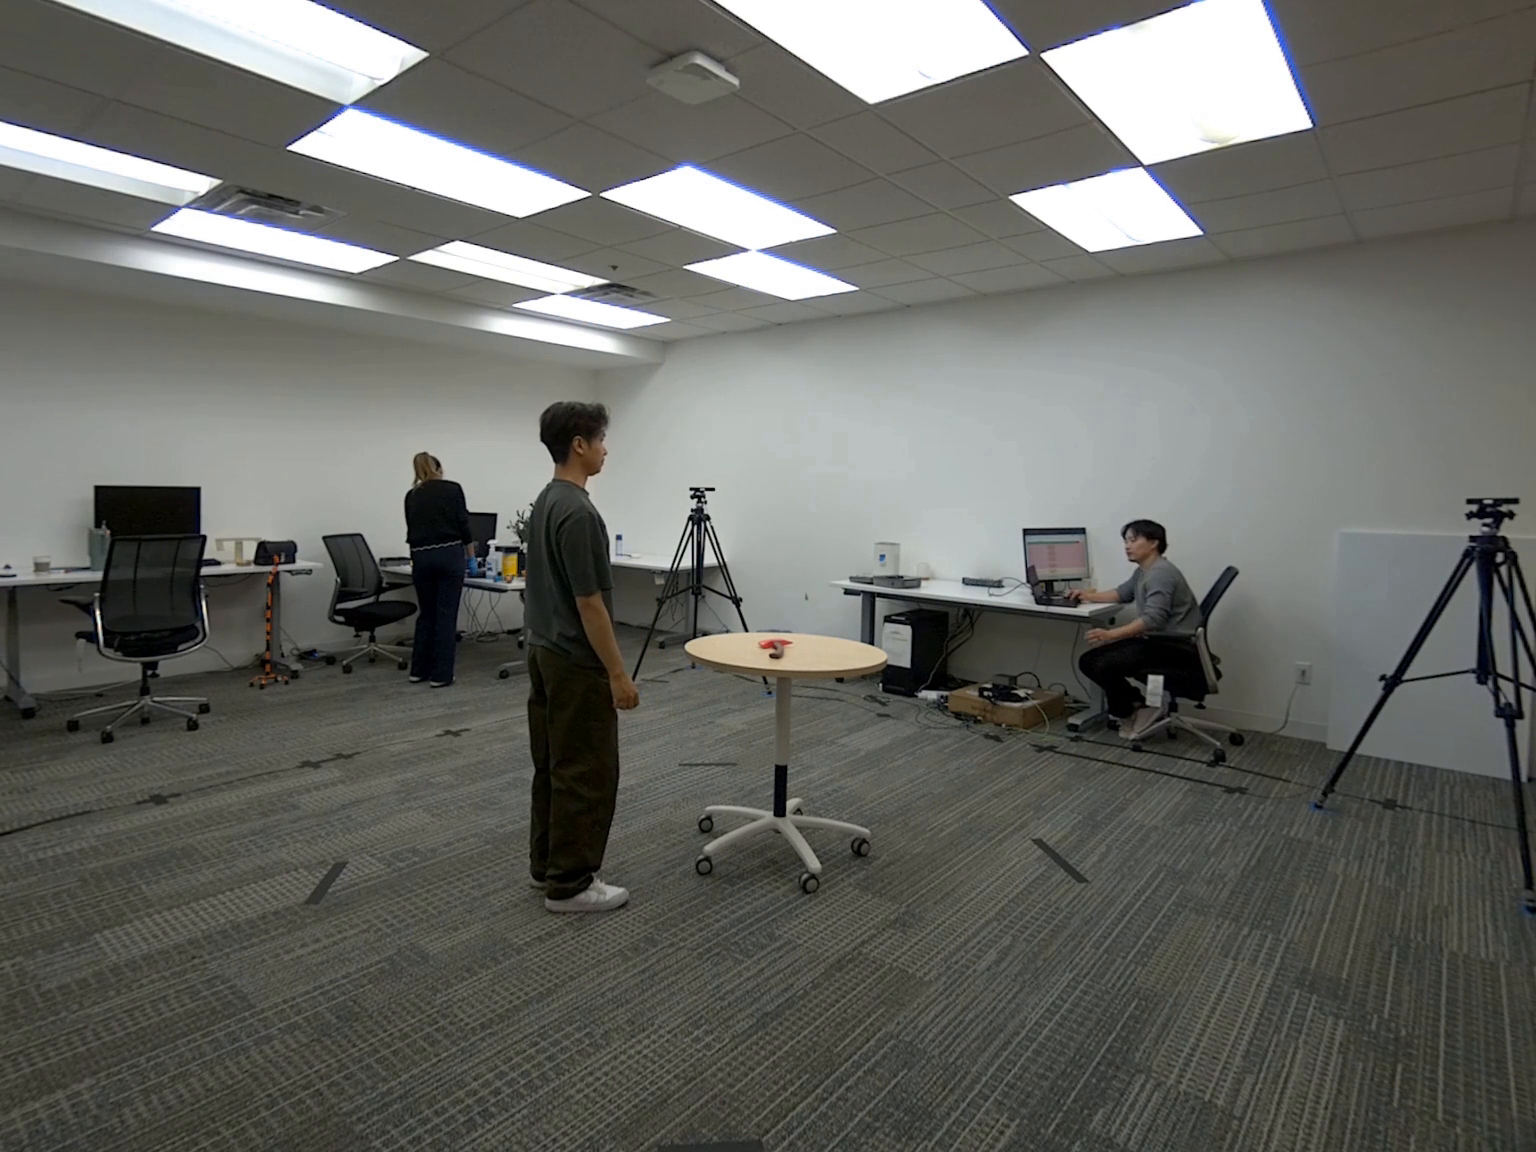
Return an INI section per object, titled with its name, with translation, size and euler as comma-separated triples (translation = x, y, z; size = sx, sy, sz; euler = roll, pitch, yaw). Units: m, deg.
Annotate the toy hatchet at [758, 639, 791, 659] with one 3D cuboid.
[toy hatchet]
translation = 0.008, 0.269, 3.177
size = 0.133, 0.029, 0.267
euler = 3, 7, 13
